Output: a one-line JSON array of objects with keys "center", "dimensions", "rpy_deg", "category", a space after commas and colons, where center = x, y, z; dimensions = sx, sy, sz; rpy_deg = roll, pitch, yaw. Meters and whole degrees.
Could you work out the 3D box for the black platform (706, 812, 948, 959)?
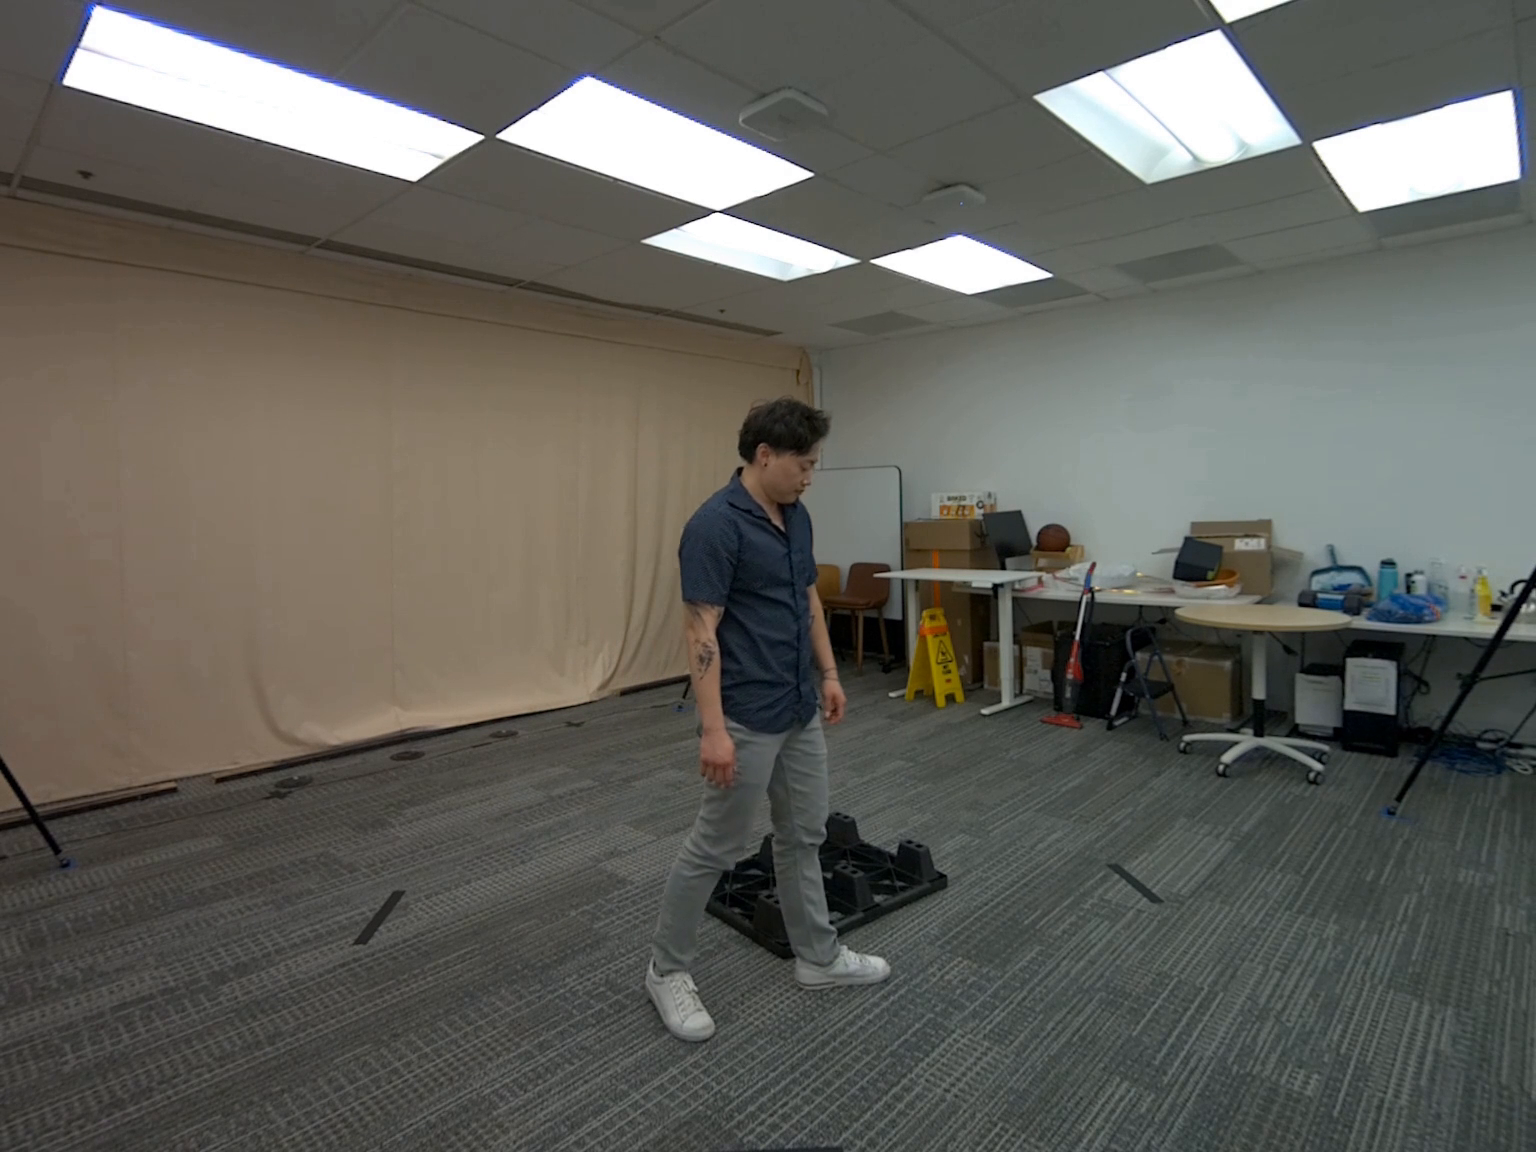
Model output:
[{"center": [0.163, 1.066, 3.030], "dimensions": [0.782, 0.143, 0.625], "rpy_deg": [-6, 6, -39], "category": "black platform"}]
